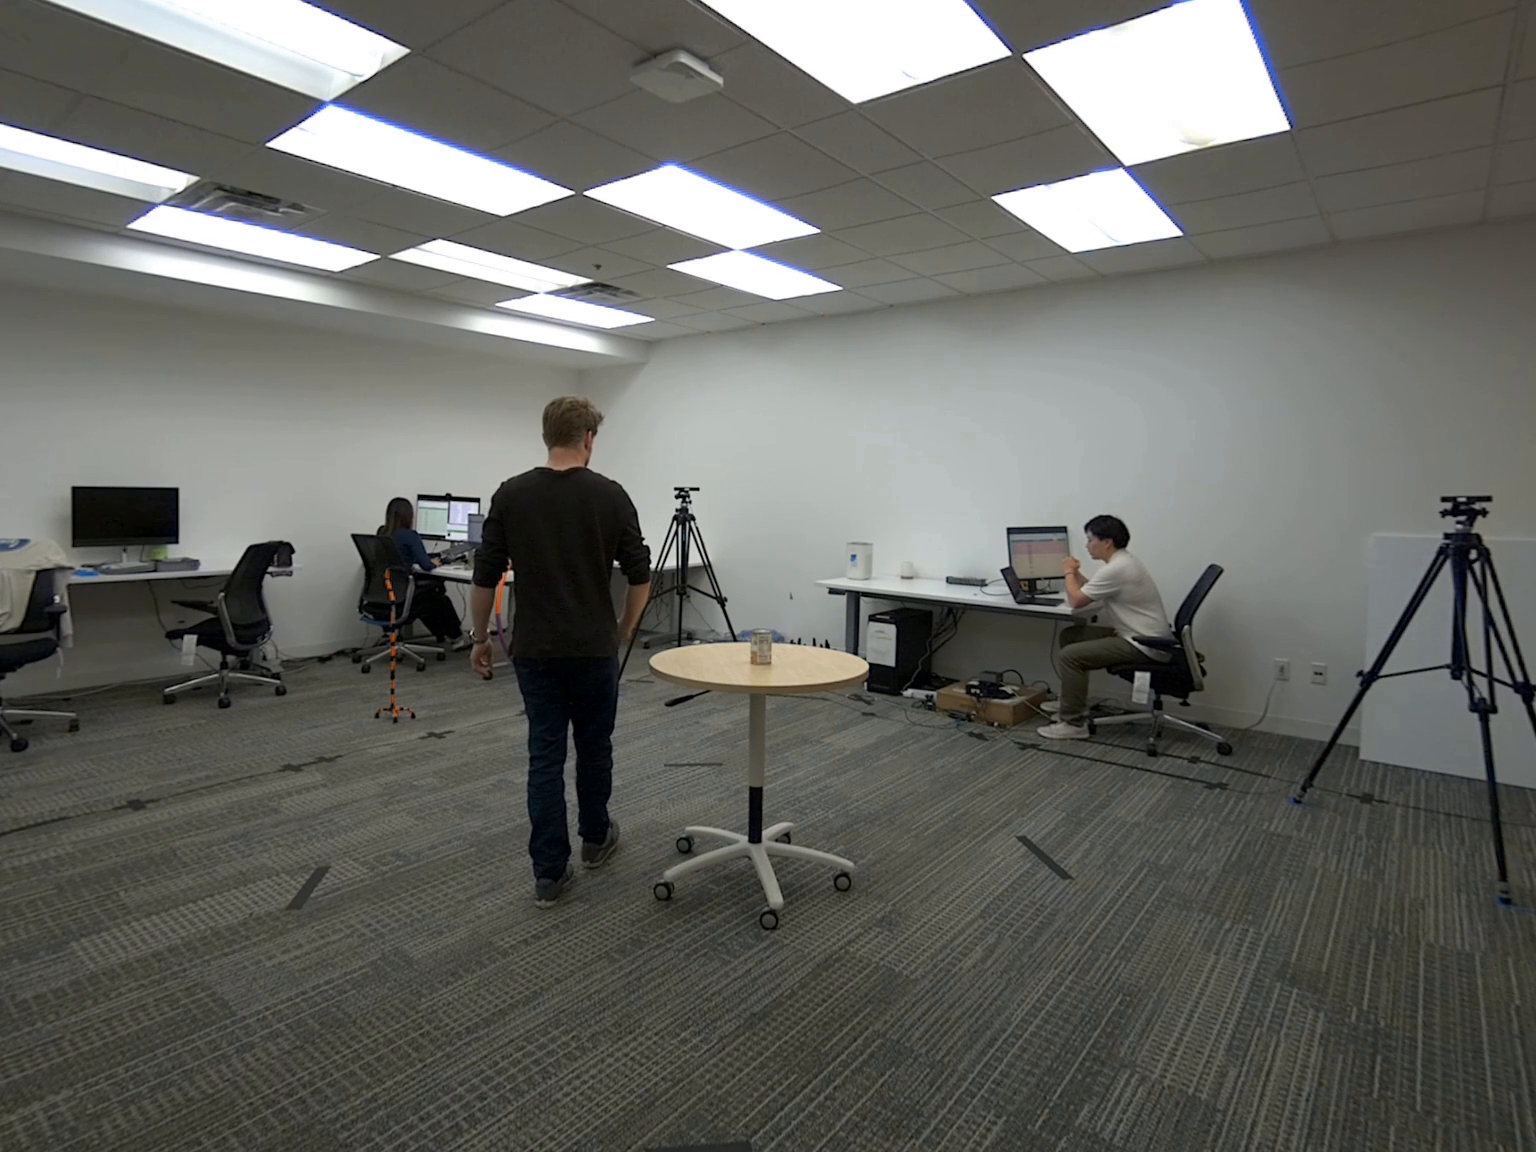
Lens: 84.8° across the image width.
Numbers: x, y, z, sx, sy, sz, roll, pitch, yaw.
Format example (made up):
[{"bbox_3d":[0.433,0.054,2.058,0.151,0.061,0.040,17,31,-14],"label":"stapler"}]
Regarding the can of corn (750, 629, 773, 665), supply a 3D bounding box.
[{"bbox_3d":[-0.035,0.250,2.949,0.074,0.110,0.074,-1,4,-2],"label":"can of corn"}]
